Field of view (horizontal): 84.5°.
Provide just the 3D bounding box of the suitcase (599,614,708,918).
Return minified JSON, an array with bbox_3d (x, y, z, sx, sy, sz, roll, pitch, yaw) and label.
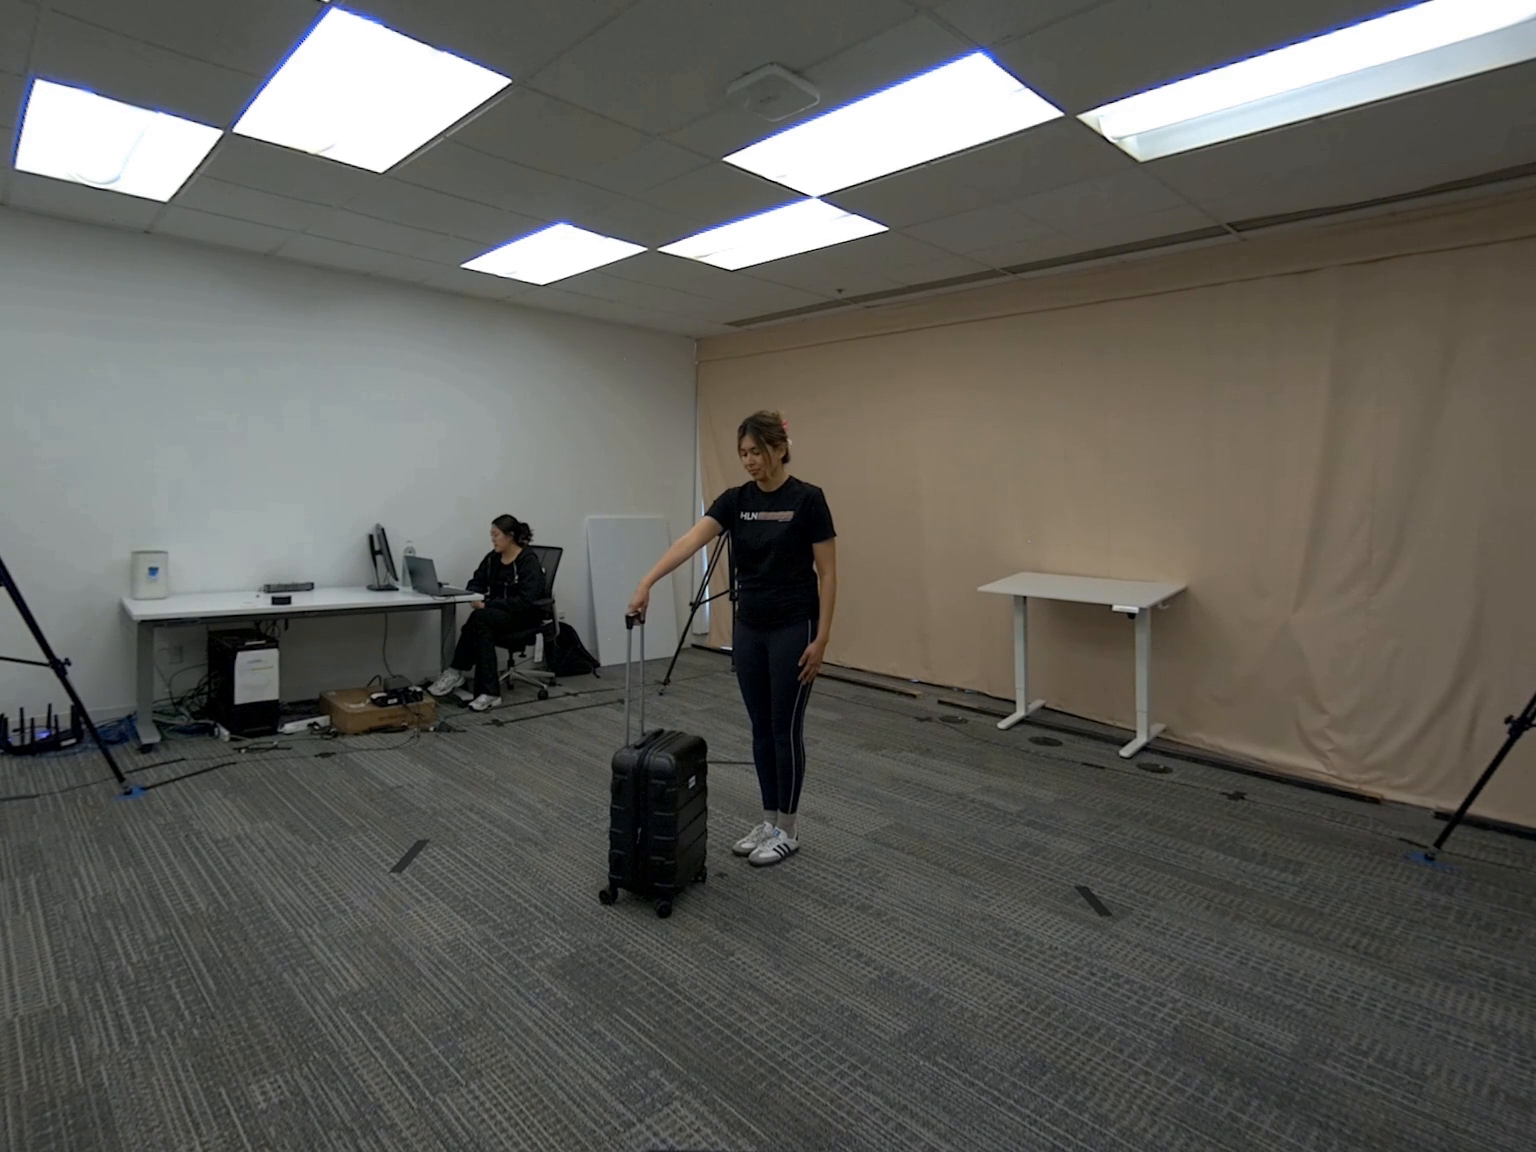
[{"bbox_3d":[-0.375,0.640,2.944,0.261,0.976,0.379,4,3,18],"label":"suitcase"}]
